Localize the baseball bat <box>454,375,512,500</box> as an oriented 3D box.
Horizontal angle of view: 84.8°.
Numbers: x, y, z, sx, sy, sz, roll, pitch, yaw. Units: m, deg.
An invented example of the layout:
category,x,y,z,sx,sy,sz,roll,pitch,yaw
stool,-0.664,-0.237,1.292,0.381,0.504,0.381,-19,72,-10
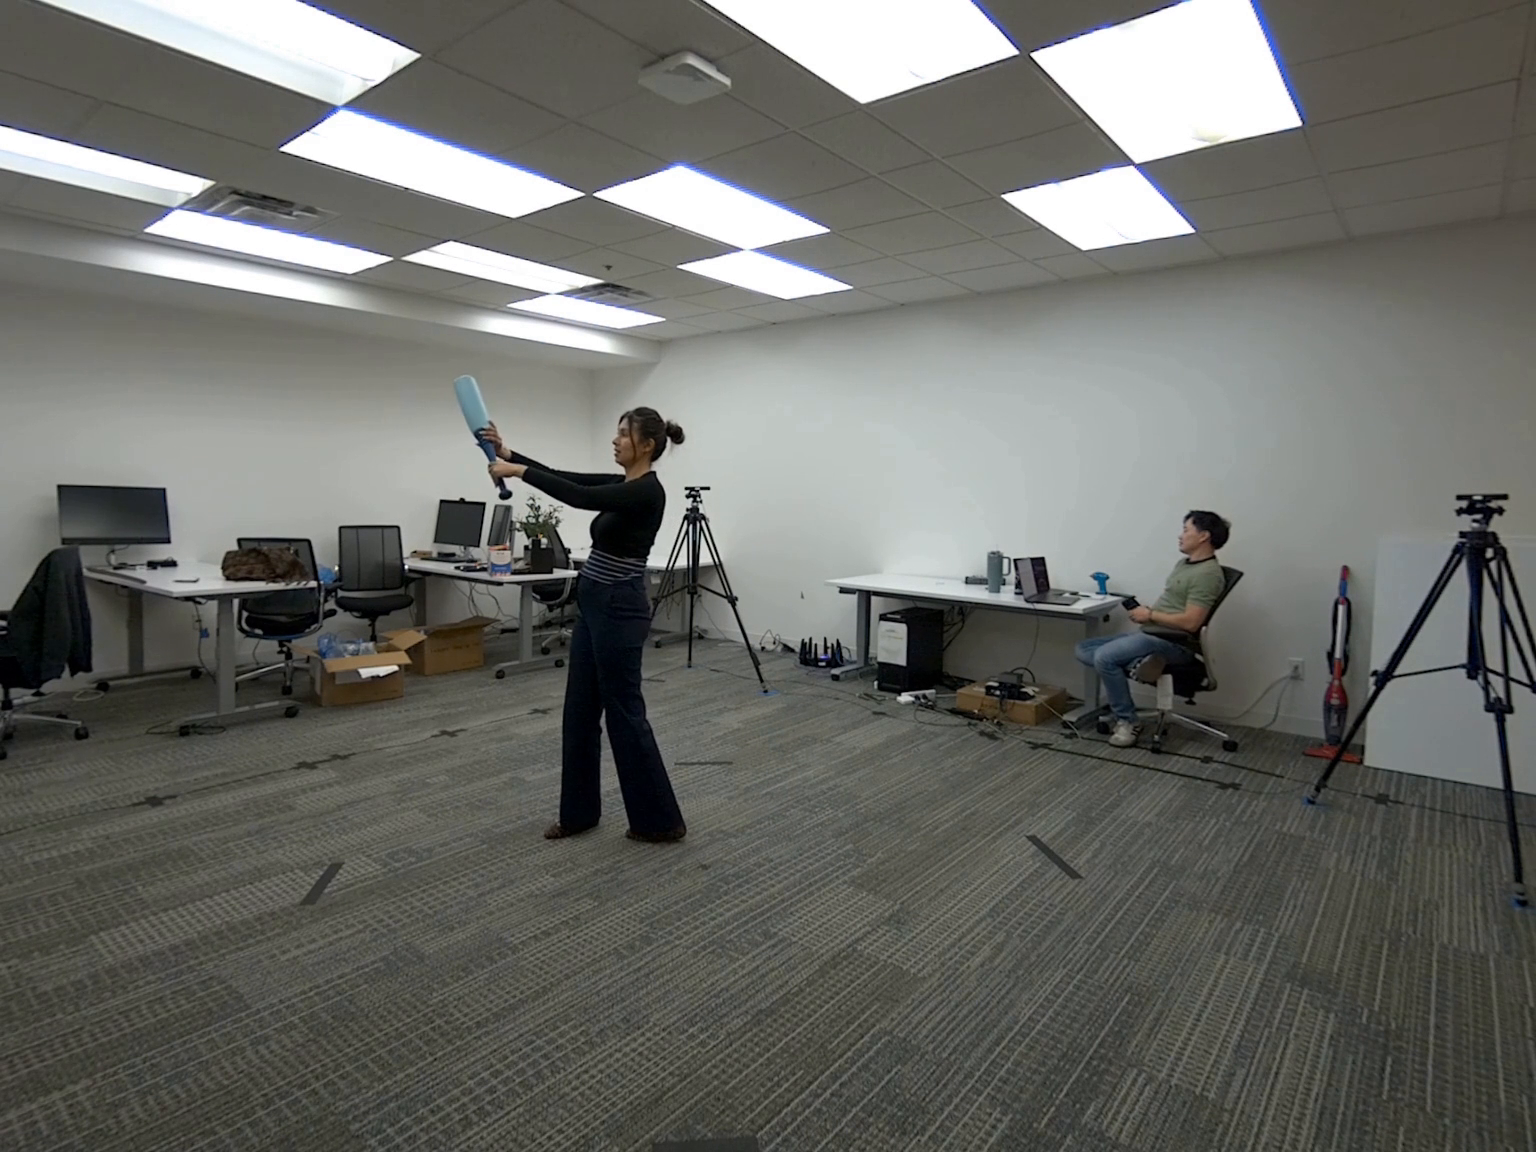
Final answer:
category,x,y,z,sx,sy,sz,roll,pitch,yaw
baseball bat,-1.070,-0.521,3.167,0.088,0.557,0.087,-23,-21,-10
